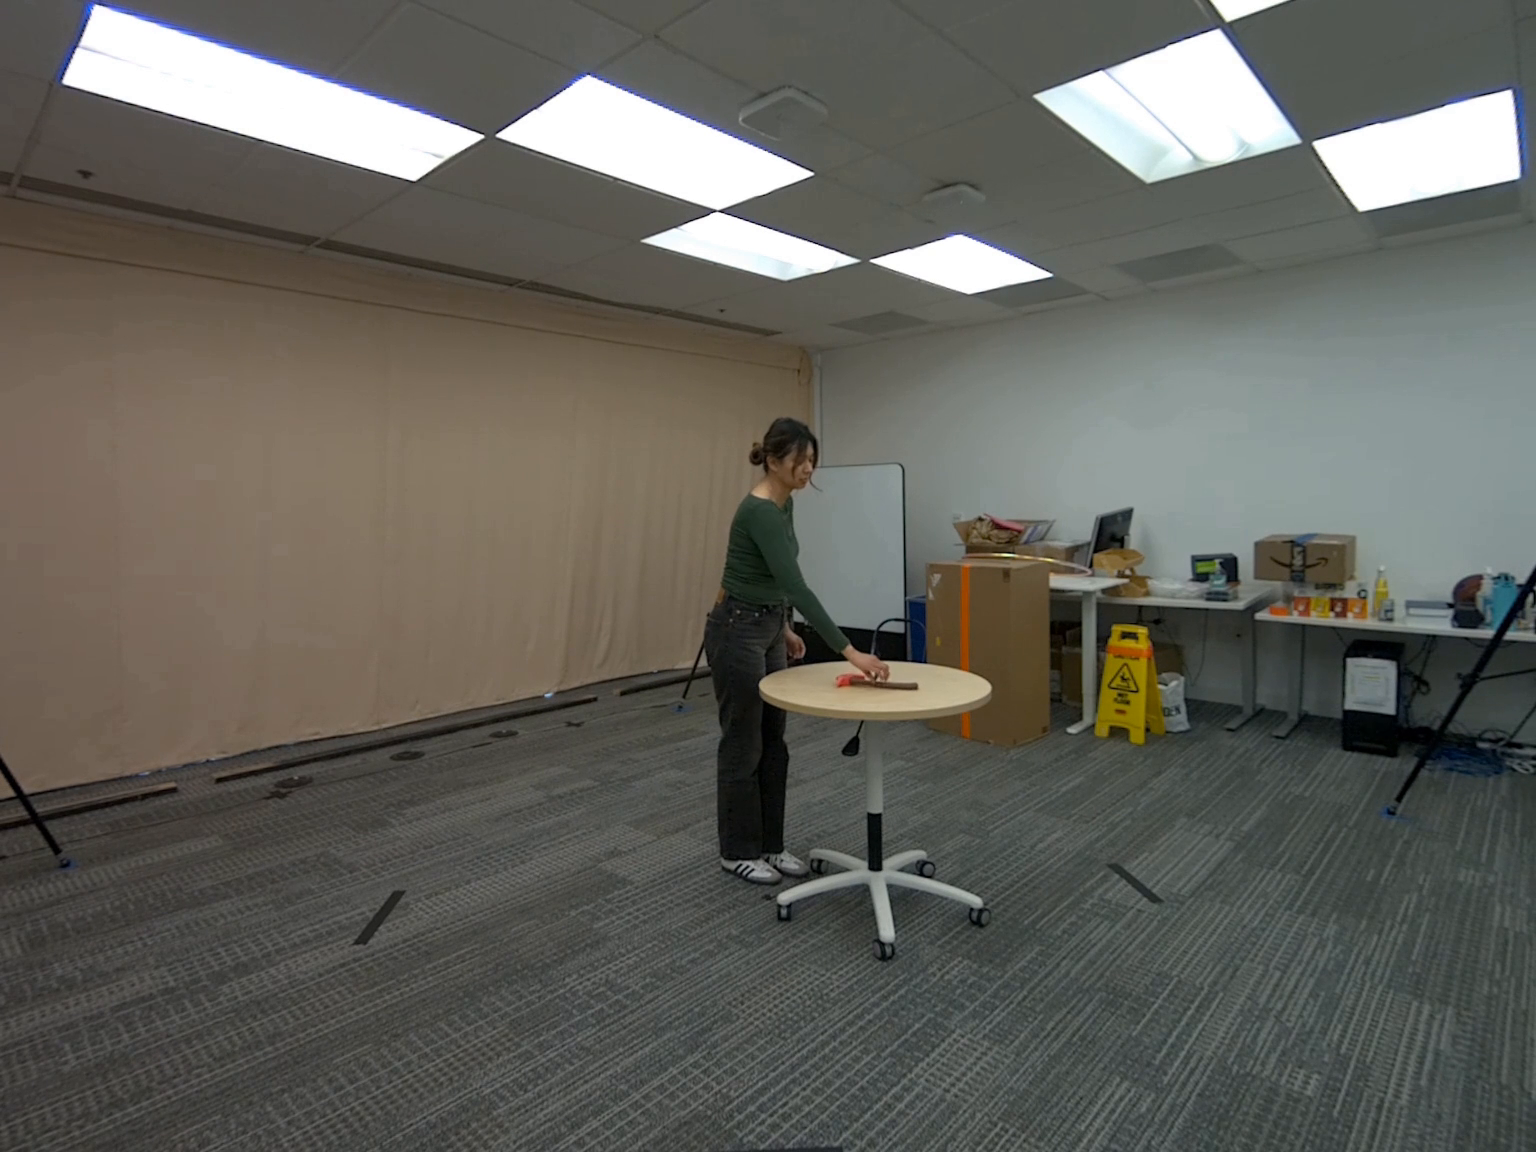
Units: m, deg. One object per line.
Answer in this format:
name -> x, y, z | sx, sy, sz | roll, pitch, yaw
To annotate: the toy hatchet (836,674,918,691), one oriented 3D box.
toy hatchet -> 0.378, 0.355, 2.803 | 0.273, 0.029, 0.130 | 1, 6, 11
